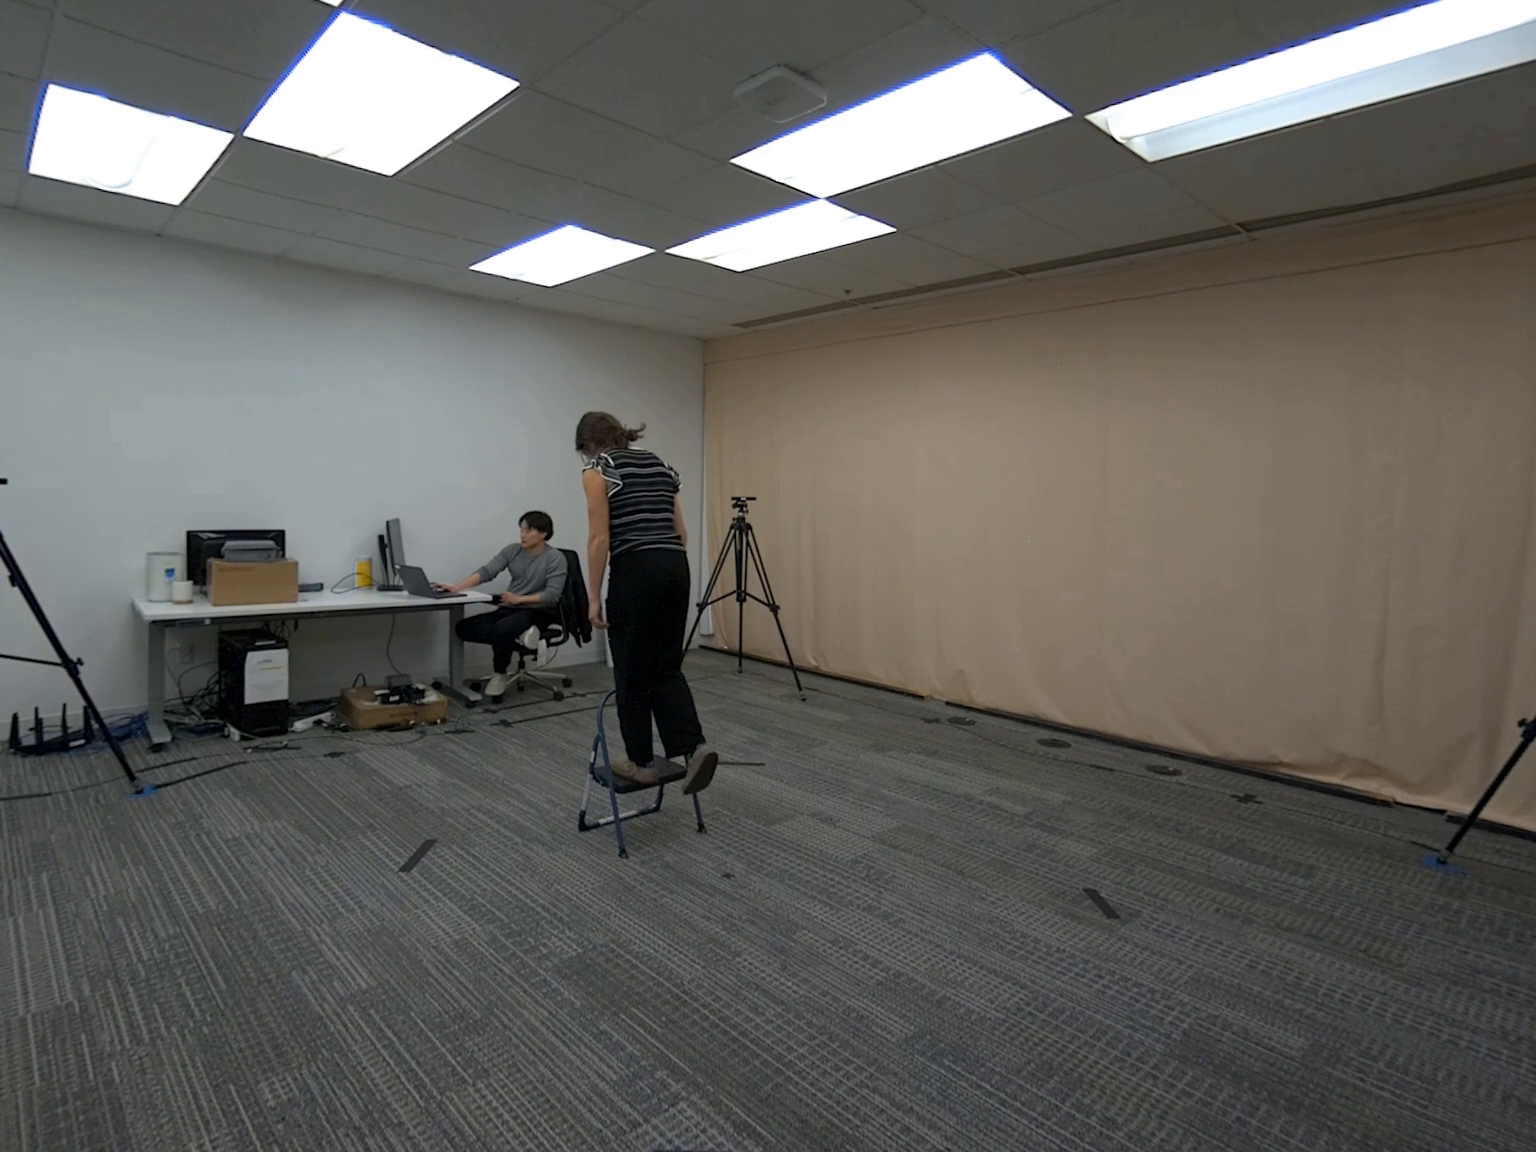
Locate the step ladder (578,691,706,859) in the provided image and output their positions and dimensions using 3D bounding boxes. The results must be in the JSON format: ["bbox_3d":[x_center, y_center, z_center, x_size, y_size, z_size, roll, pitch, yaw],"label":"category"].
[{"bbox_3d":[-0.523,0.764,3.487,0.421,0.605,0.358,-2,4,-44],"label":"step ladder"}]
